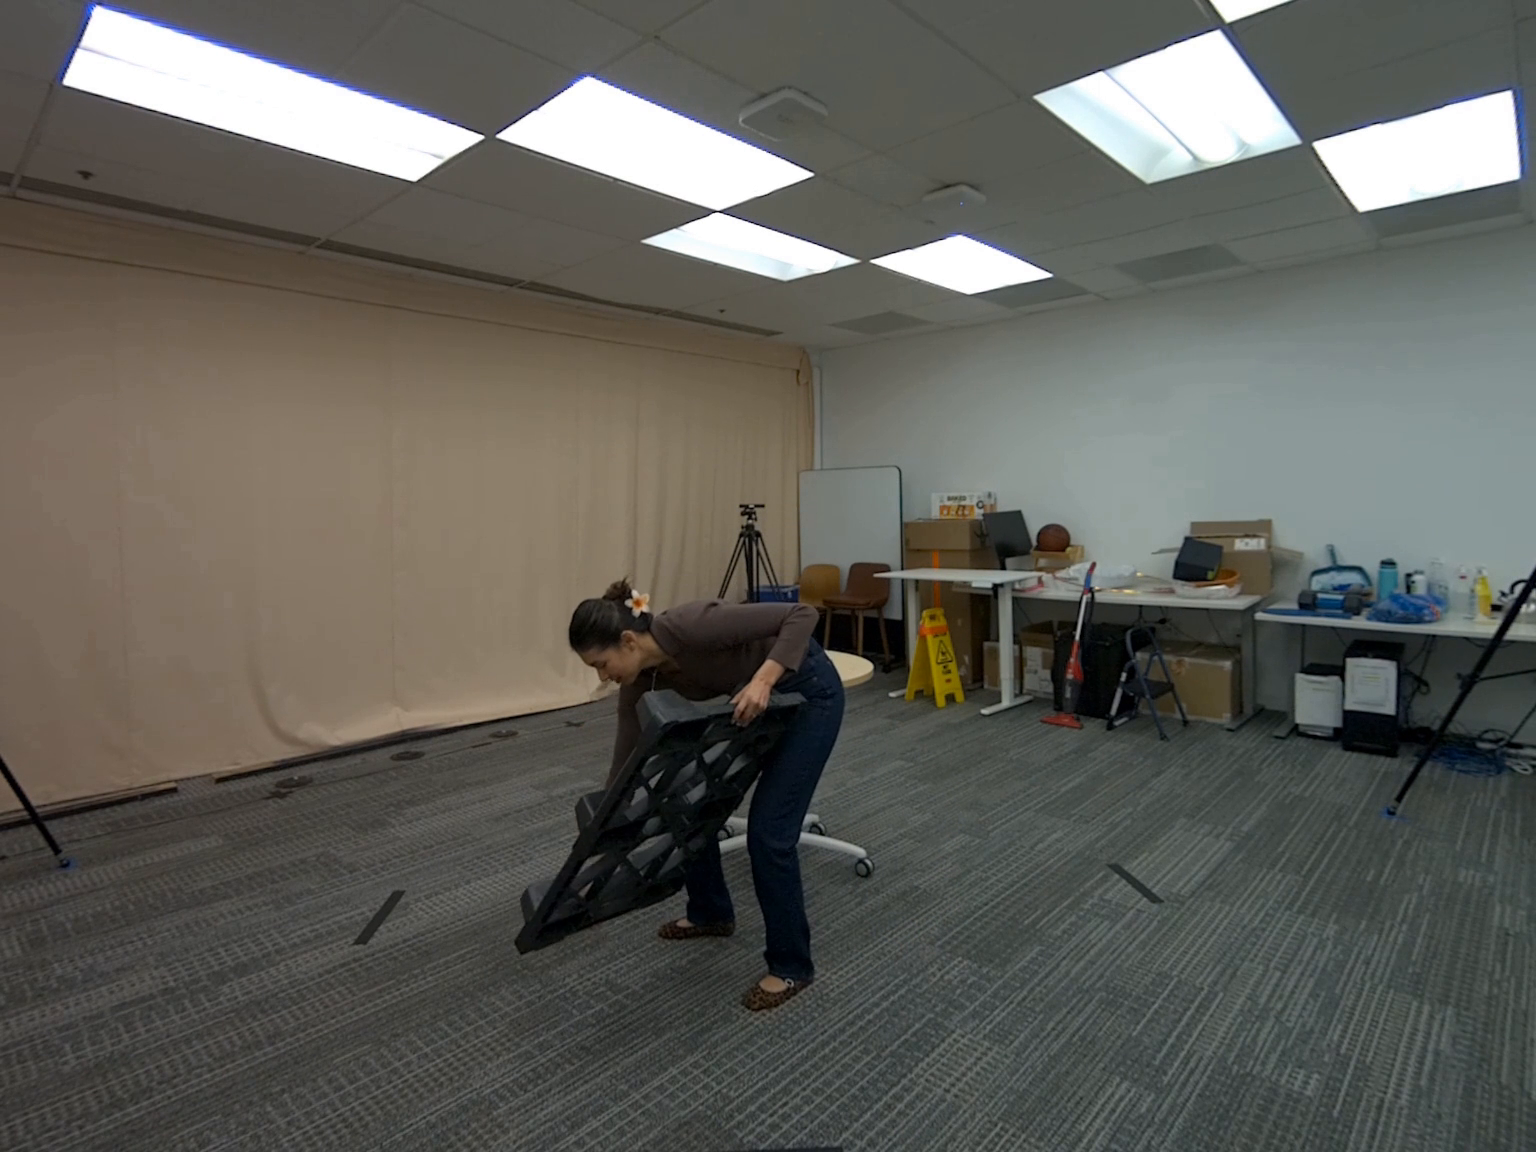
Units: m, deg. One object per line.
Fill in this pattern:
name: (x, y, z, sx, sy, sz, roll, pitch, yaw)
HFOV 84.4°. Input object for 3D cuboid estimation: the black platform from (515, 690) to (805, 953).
black platform: (-0.297, 0.613, 2.247, 0.148, 0.806, 0.586, 43, 22, 29)
